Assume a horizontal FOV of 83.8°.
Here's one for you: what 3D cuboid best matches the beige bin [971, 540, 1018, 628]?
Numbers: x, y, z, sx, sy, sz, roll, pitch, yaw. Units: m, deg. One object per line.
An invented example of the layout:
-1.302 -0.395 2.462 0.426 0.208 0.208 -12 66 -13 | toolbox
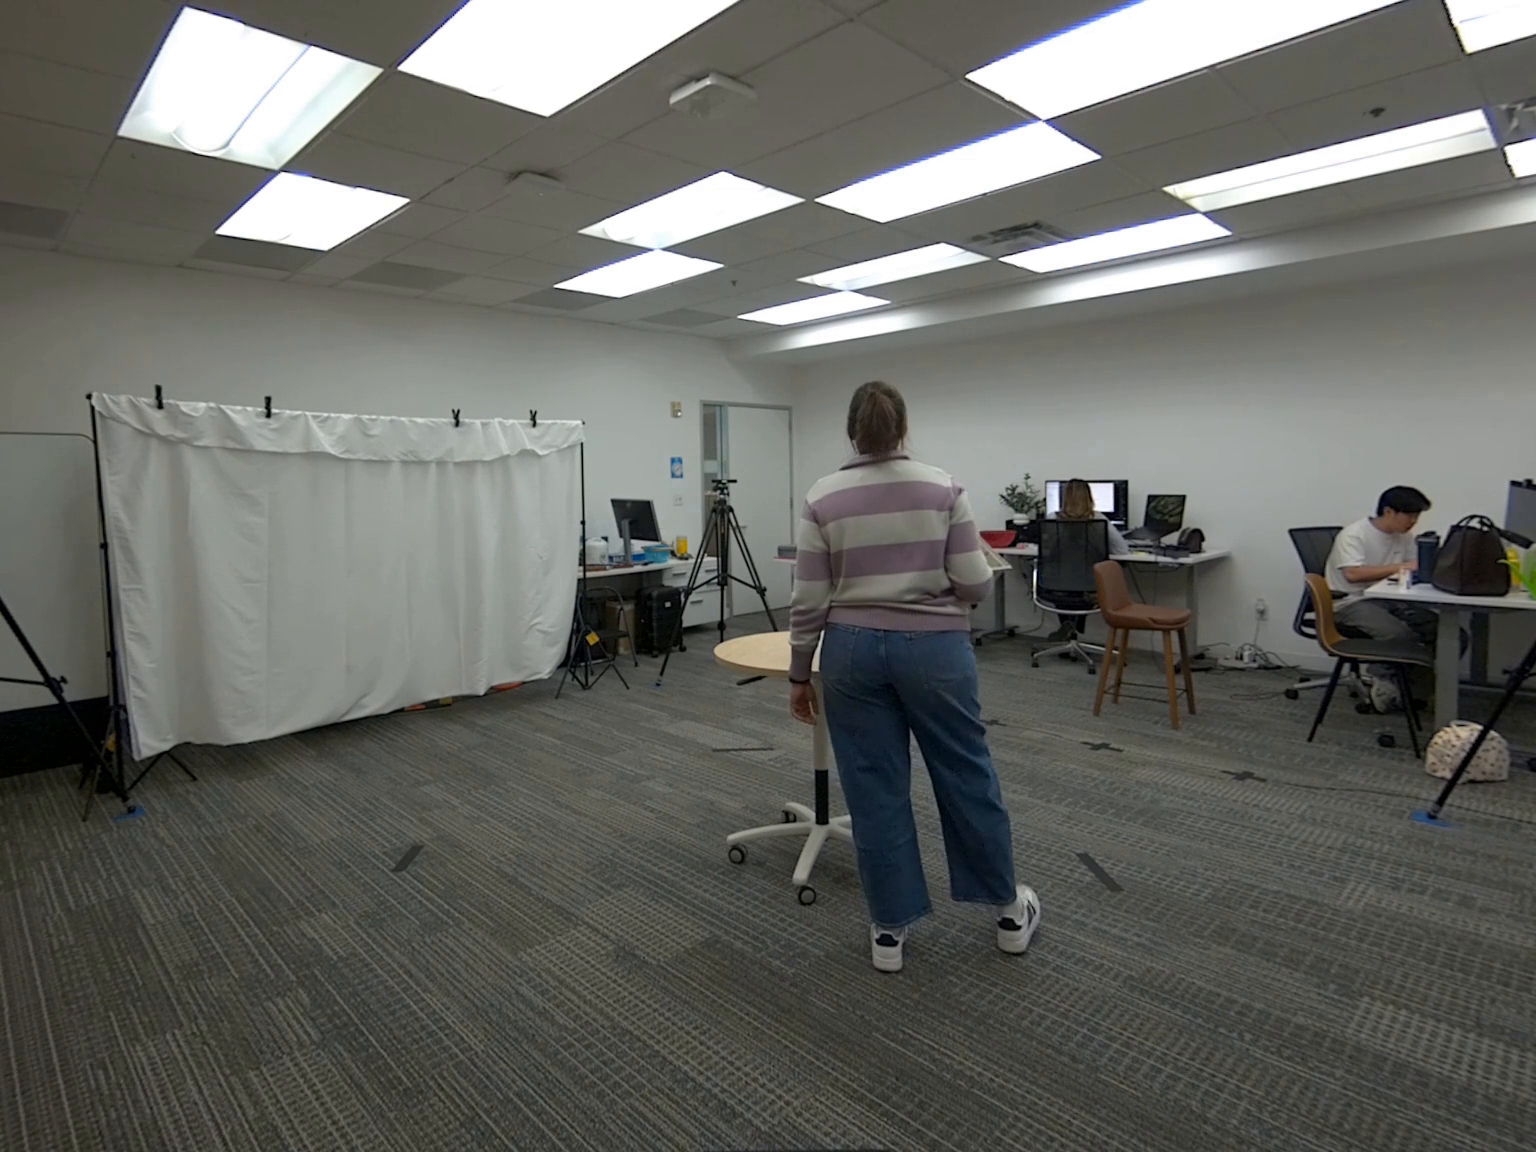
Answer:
0.534 -0.074 2.887 0.410 0.187 0.391 -3 45 -45 | beige bin
